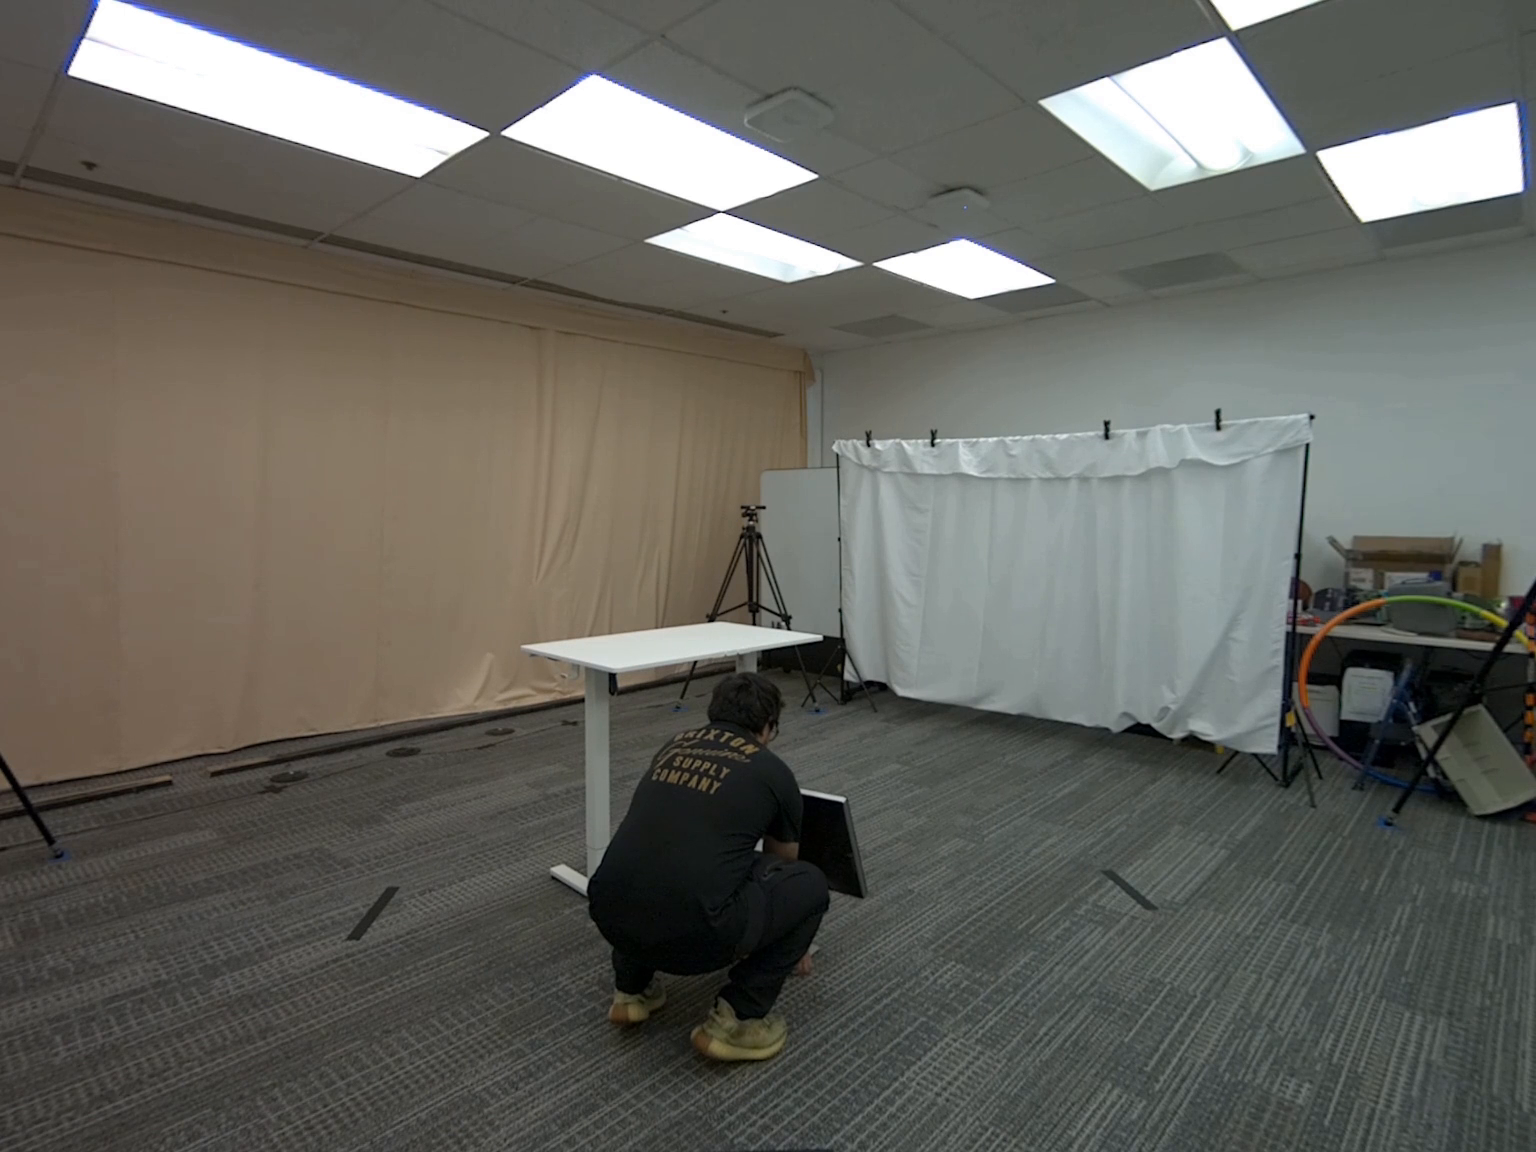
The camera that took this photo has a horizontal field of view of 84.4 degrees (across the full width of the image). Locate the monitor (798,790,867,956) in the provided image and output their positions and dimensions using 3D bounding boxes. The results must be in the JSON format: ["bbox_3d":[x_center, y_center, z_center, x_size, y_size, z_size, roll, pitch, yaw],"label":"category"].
[{"bbox_3d":[-0.005,0.907,2.595,0.583,0.550,0.205,1,12,35],"label":"monitor"}]
